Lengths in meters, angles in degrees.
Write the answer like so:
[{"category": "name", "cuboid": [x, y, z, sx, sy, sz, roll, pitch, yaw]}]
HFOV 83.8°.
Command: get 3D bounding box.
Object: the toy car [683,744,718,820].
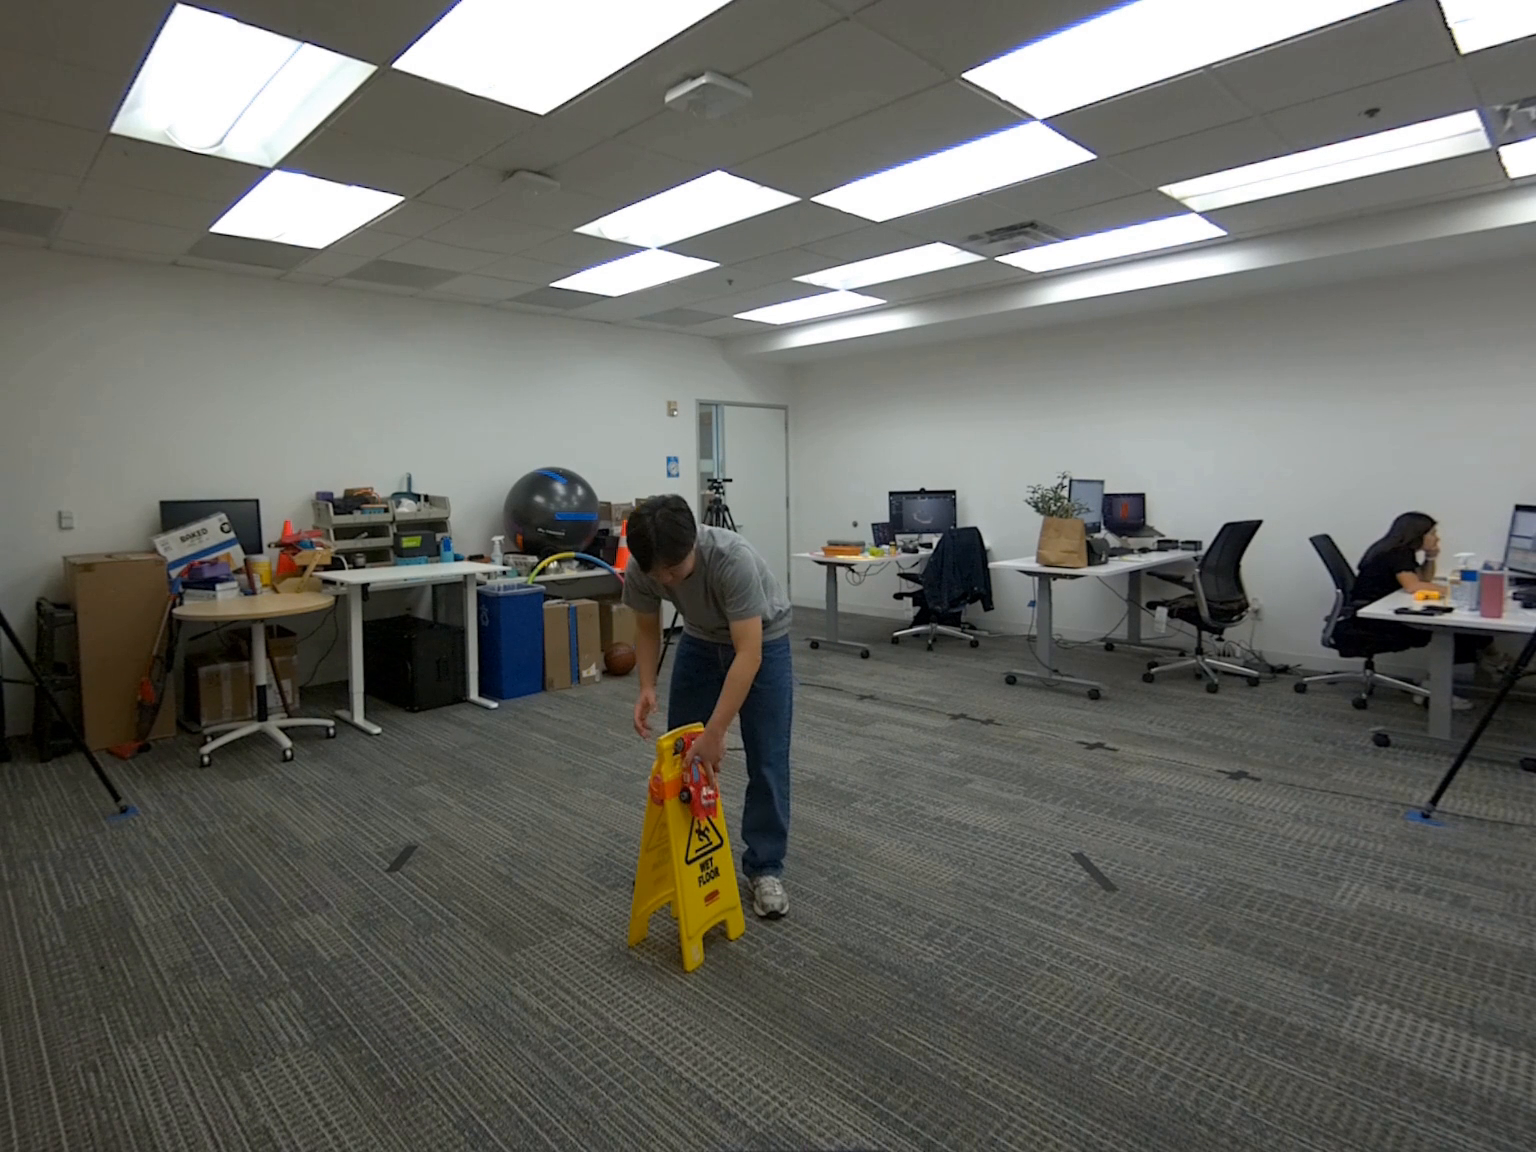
[{"category": "toy car", "cuboid": [-0.221, 0.595, 2.519, 0.084, 0.261, 0.126, -32, -26, 33]}]
